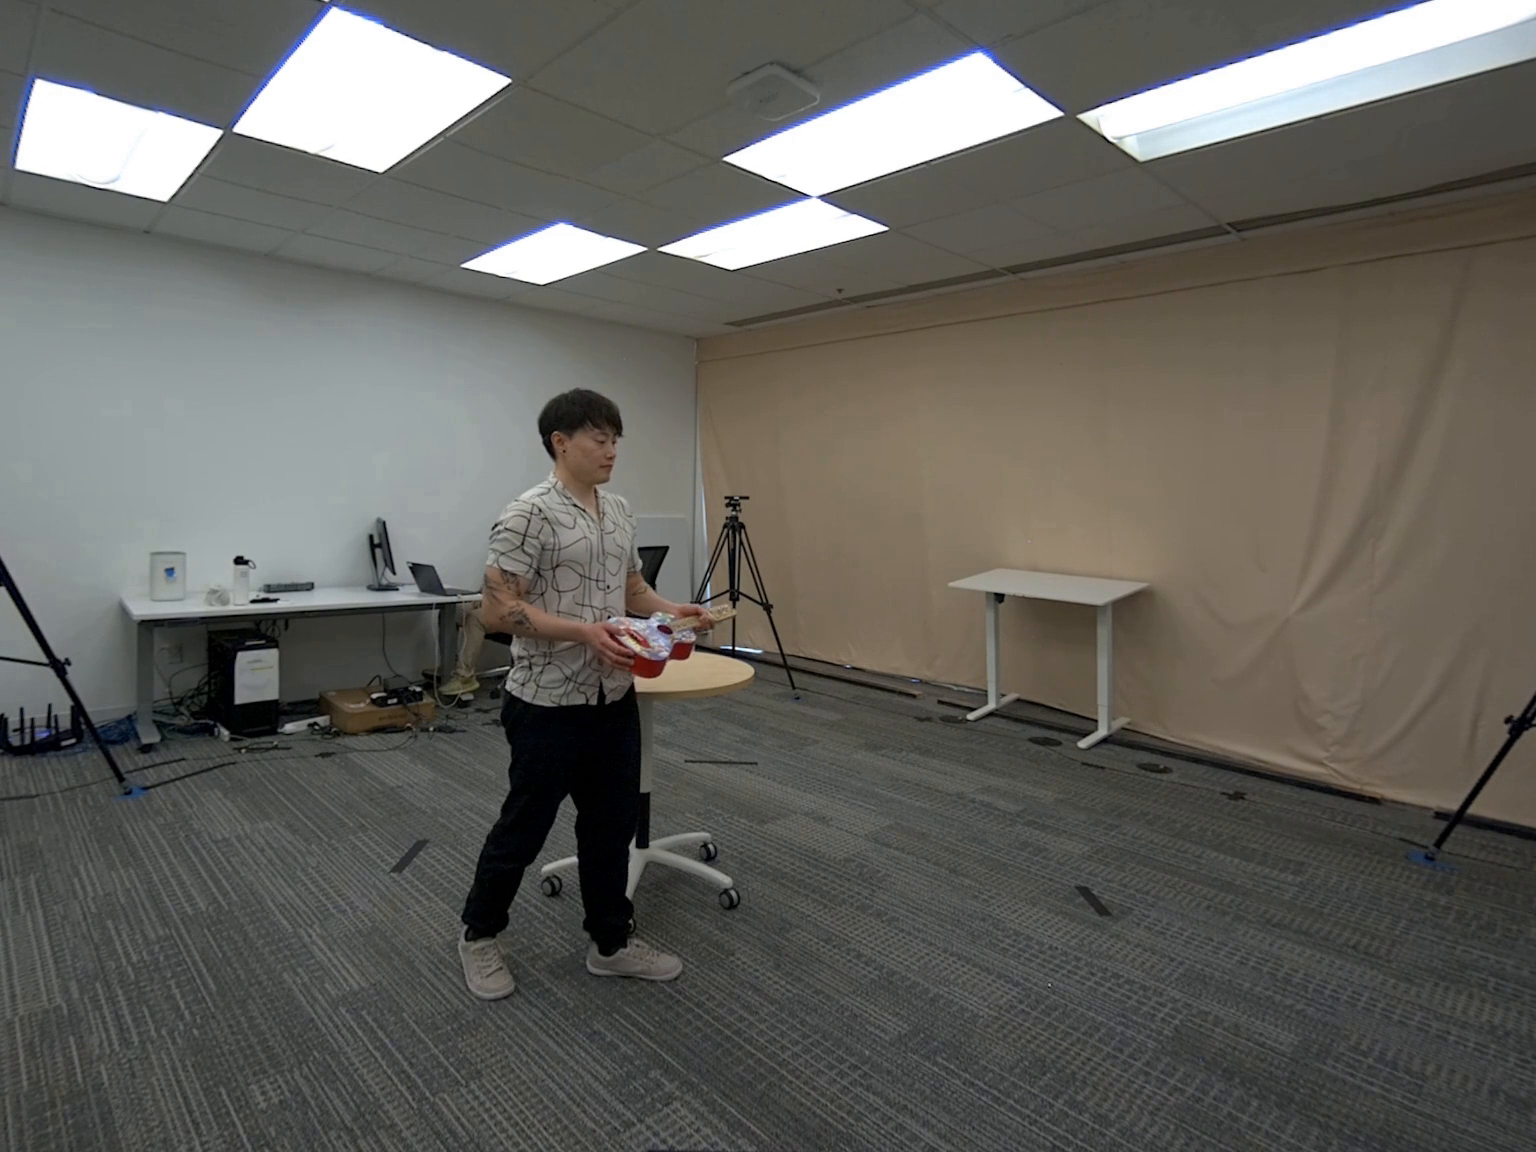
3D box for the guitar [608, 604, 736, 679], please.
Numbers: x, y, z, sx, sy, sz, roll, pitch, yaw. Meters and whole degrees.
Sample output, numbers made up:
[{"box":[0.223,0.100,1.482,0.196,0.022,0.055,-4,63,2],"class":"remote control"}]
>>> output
[{"box":[-0.252,0.176,2.310,0.199,0.070,0.487,38,26,32],"class":"guitar"}]
